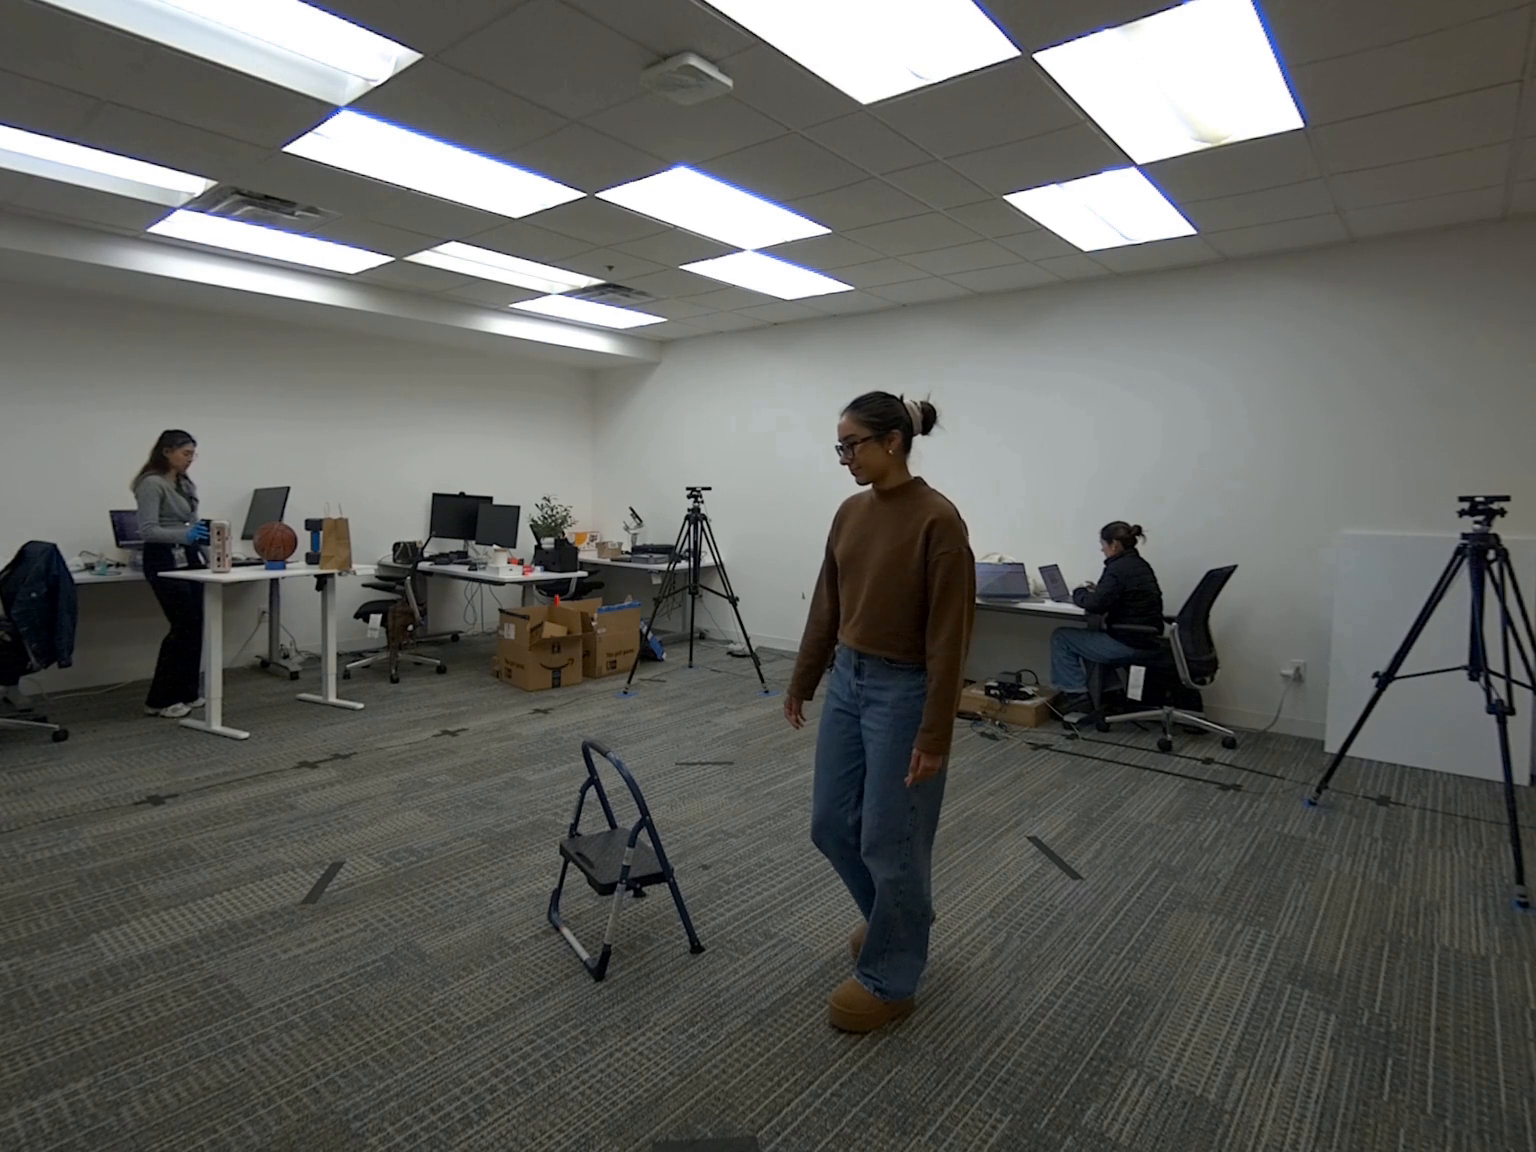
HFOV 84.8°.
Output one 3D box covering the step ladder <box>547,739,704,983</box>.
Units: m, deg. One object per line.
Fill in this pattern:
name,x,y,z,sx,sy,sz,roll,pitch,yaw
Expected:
step ladder,-0.459,0.807,2.622,0.339,0.604,0.444,-2,4,-34
